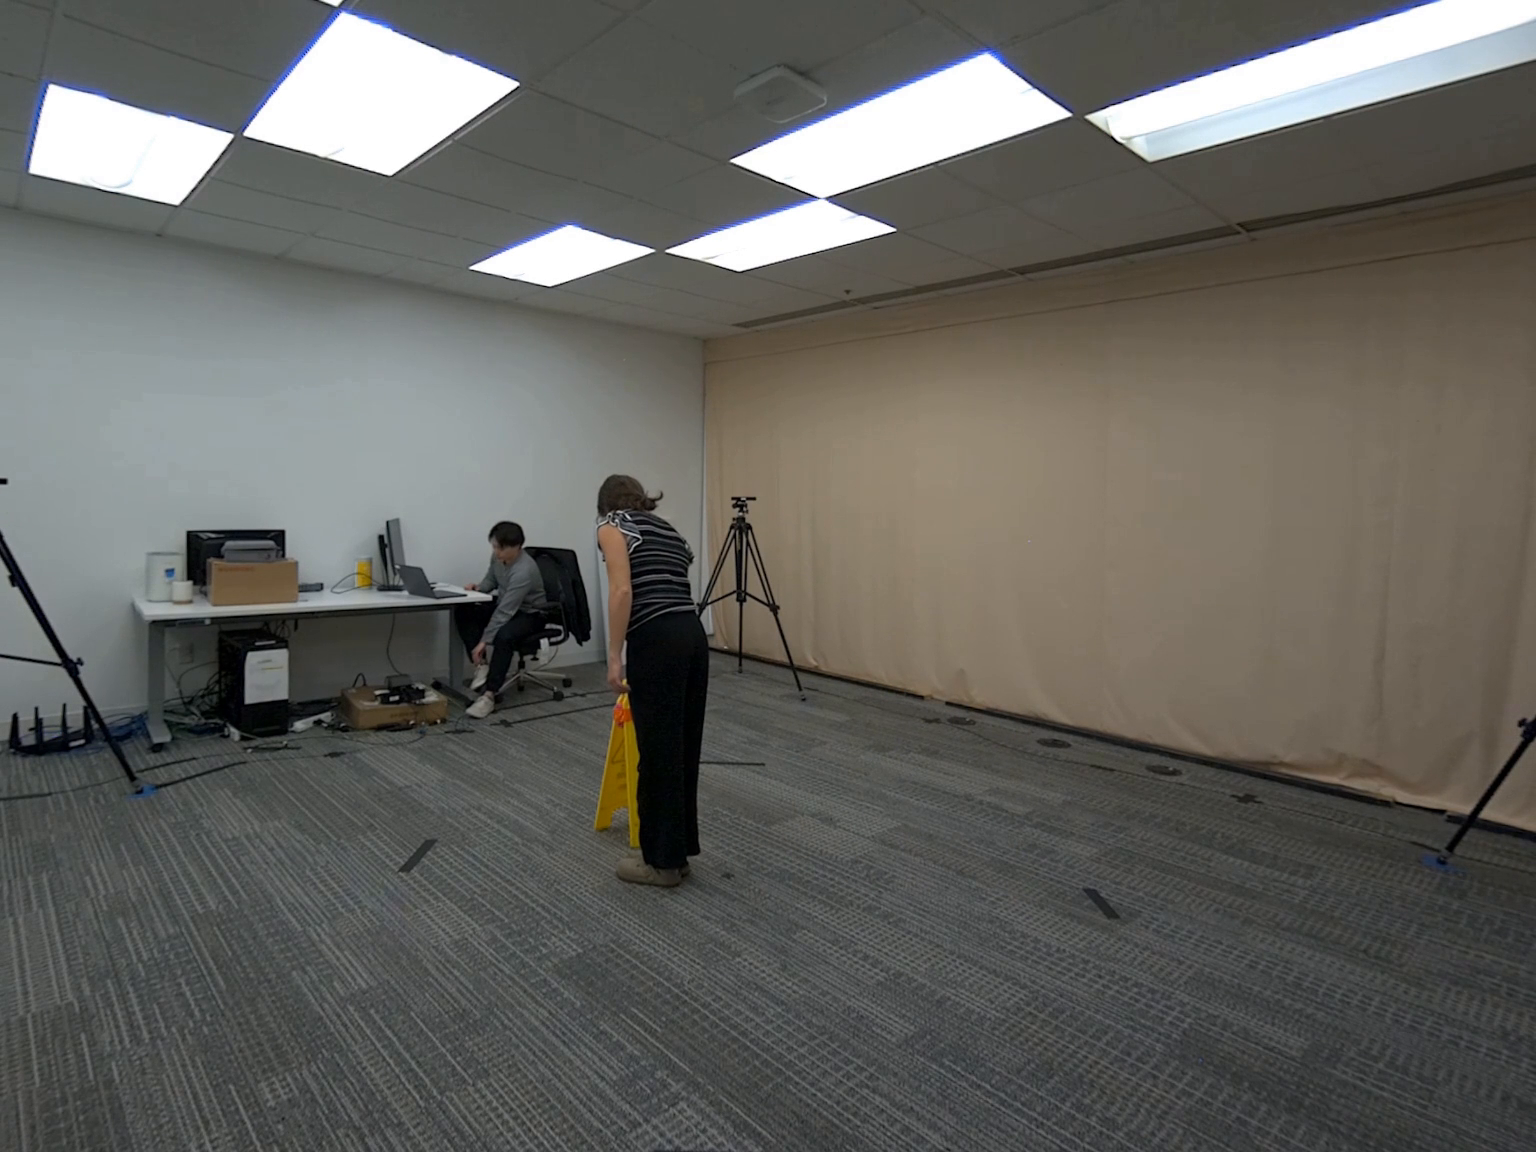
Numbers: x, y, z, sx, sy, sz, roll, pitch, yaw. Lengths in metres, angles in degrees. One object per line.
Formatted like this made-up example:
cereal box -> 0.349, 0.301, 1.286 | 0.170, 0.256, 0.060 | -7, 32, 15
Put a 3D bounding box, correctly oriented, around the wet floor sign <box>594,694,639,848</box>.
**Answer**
wet floor sign -> -0.535, 0.740, 3.490 | 0.297, 0.646, 0.275 | 1, 1, 43
